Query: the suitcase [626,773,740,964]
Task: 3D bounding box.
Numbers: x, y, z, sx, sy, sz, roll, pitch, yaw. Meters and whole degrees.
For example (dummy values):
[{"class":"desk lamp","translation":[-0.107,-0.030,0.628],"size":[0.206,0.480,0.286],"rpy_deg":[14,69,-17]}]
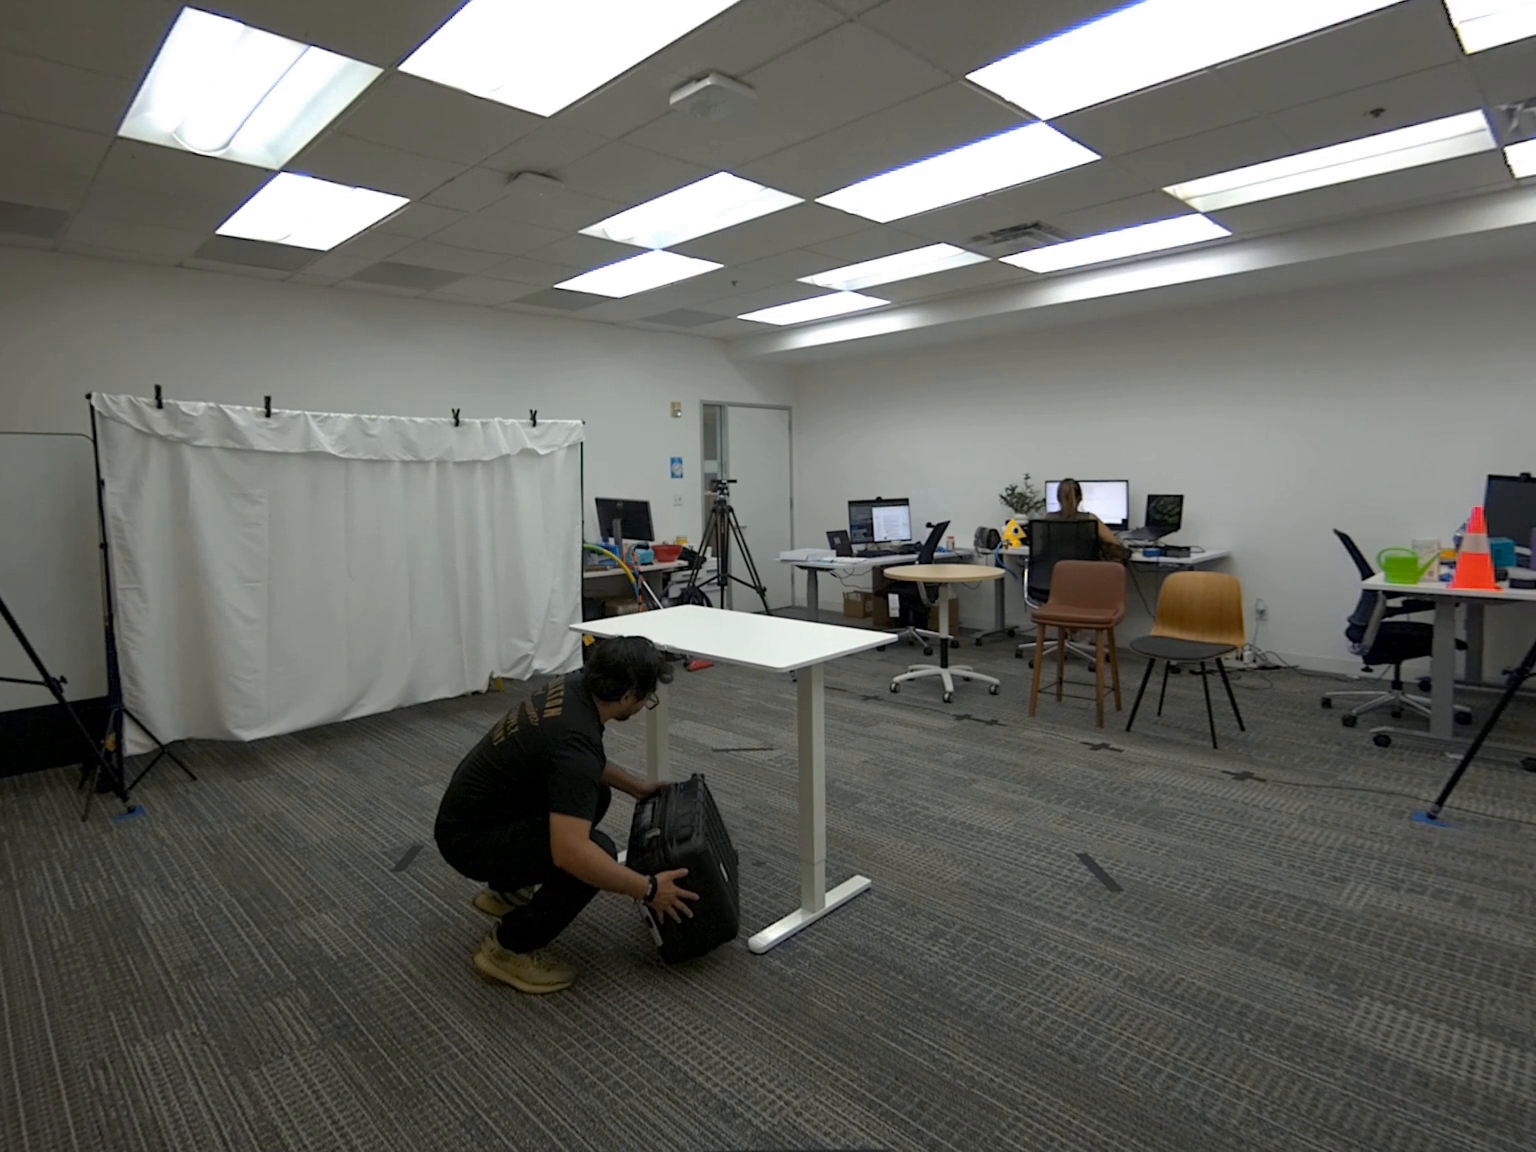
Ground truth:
[{"class":"suitcase","translation":[-0.256,0.878,2.629],"size":[0.248,0.373,0.554],"rpy_deg":[-19,7,-1]}]
